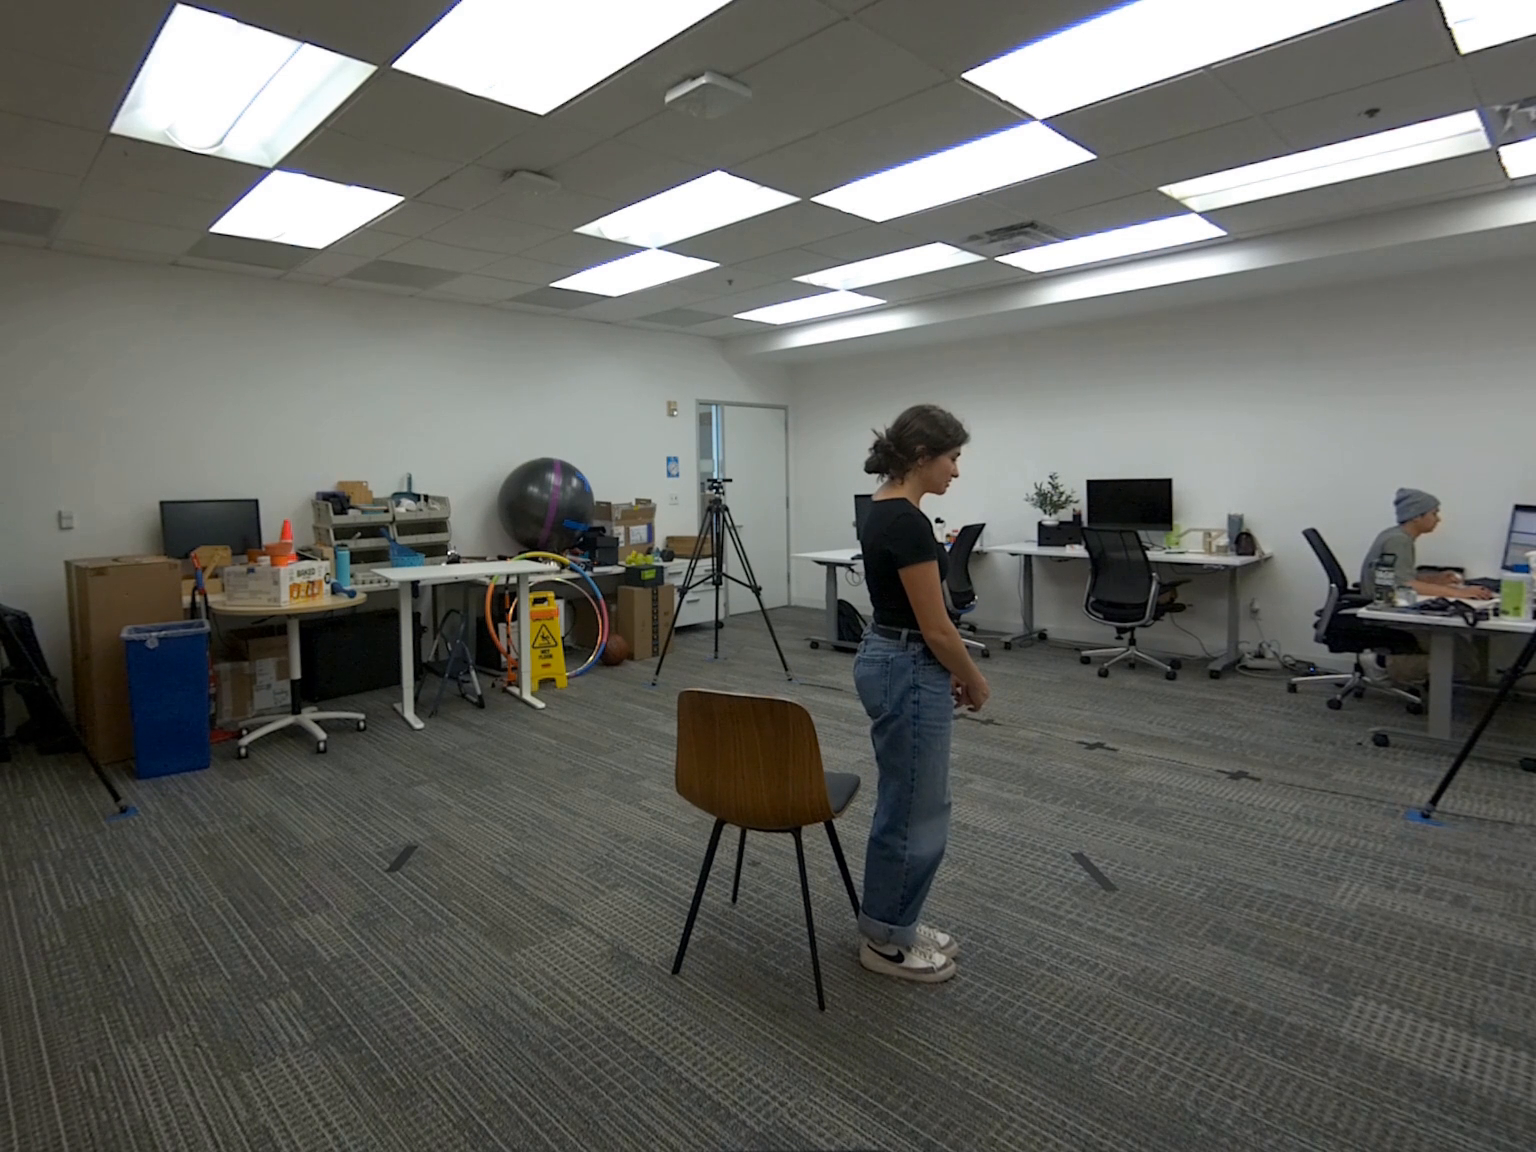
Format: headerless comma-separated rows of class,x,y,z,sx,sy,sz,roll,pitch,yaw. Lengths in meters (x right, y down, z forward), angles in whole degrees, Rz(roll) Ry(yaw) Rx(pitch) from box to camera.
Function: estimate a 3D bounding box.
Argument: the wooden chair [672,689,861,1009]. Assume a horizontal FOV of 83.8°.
wooden chair,0.012,0.687,2.509,0.488,0.871,0.516,1,9,22
